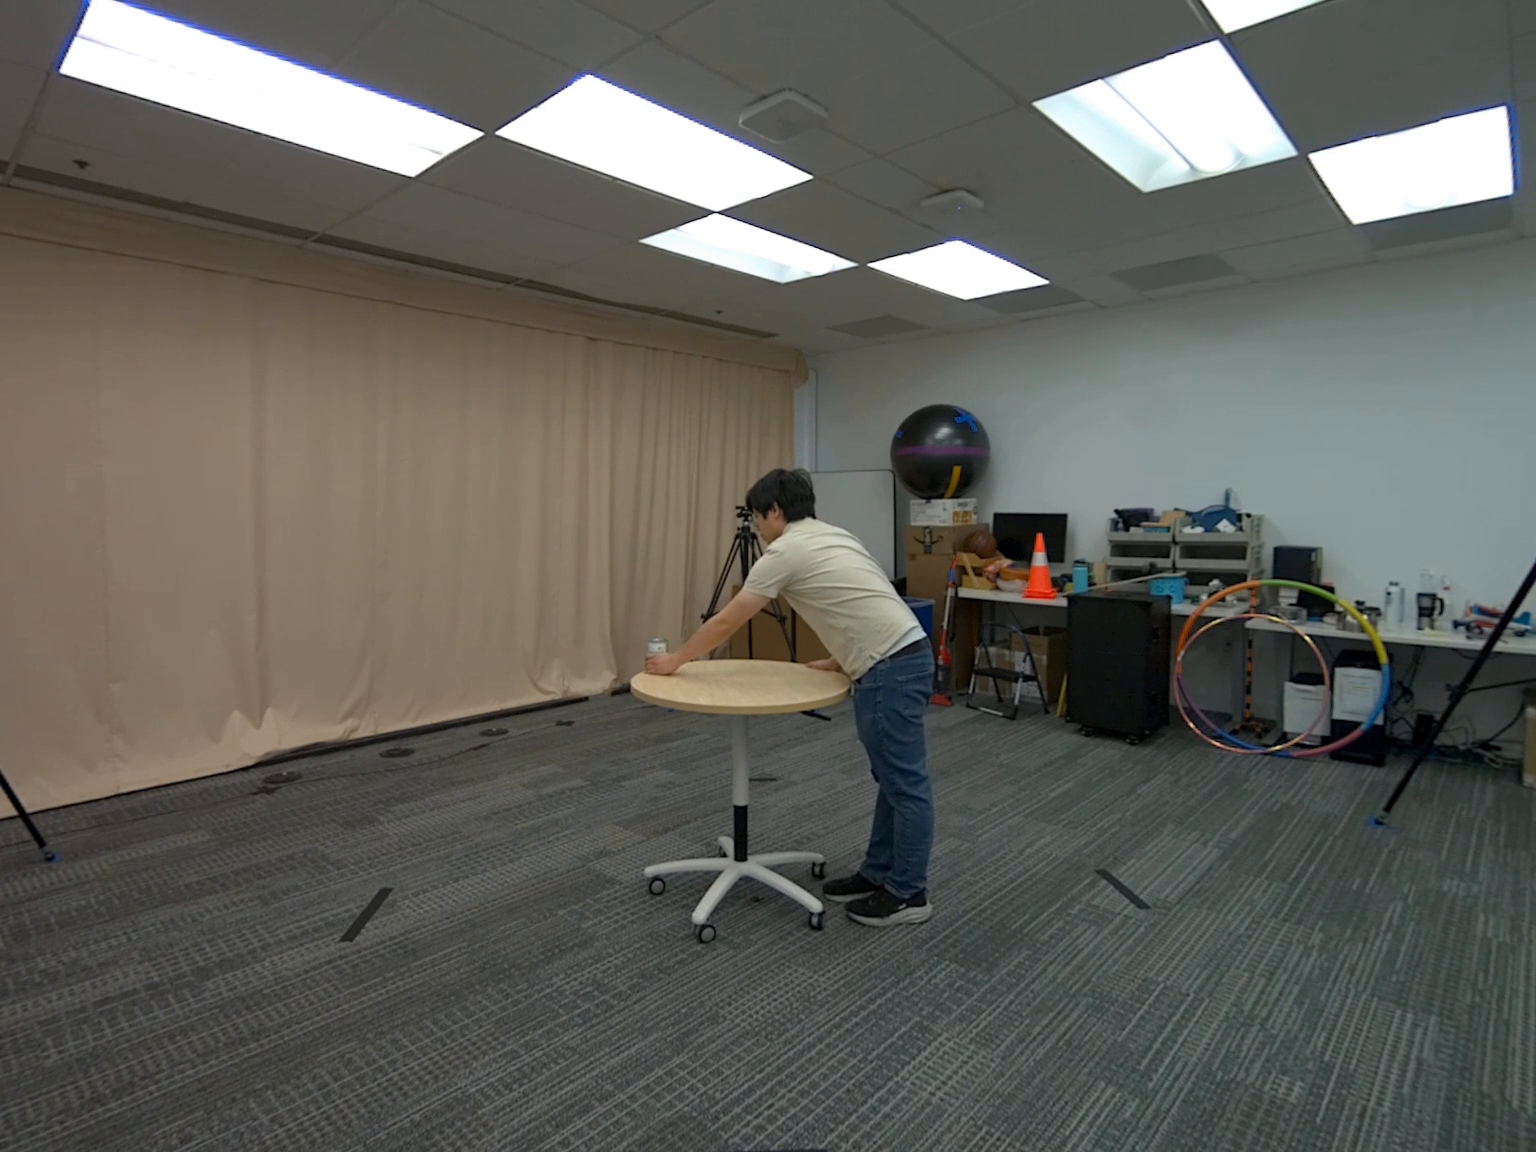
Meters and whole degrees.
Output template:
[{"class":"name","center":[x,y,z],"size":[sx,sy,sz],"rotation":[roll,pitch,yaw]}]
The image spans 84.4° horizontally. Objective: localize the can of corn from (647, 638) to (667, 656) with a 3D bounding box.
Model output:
[{"class":"can of corn","center":[-0.400,0.296,3.116],"size":[0.074,0.111,0.074],"rotation":[2,2,-2]}]
